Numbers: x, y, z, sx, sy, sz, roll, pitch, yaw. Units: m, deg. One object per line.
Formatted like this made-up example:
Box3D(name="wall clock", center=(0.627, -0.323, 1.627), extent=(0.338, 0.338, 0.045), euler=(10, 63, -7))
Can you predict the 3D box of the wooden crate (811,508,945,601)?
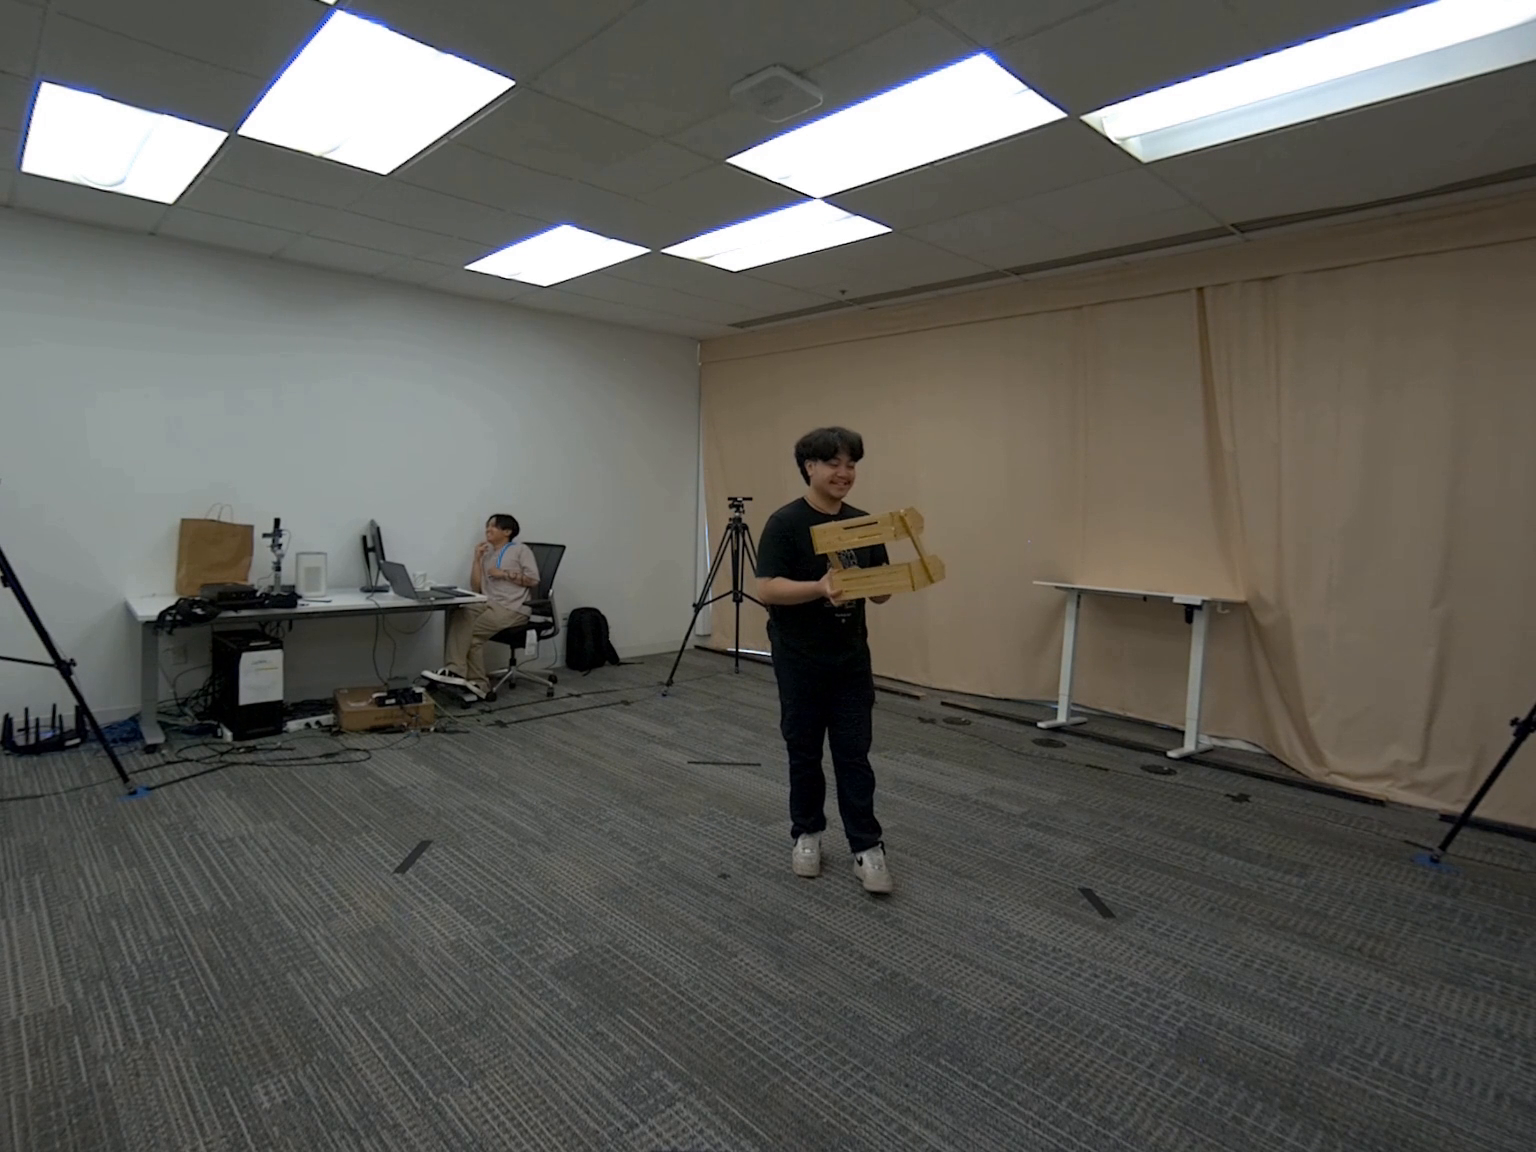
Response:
Box3D(name="wooden crate", center=(0.362, -0.076, 2.783), extent=(0.330, 0.273, 0.297), euler=(-10, 2, 36))
